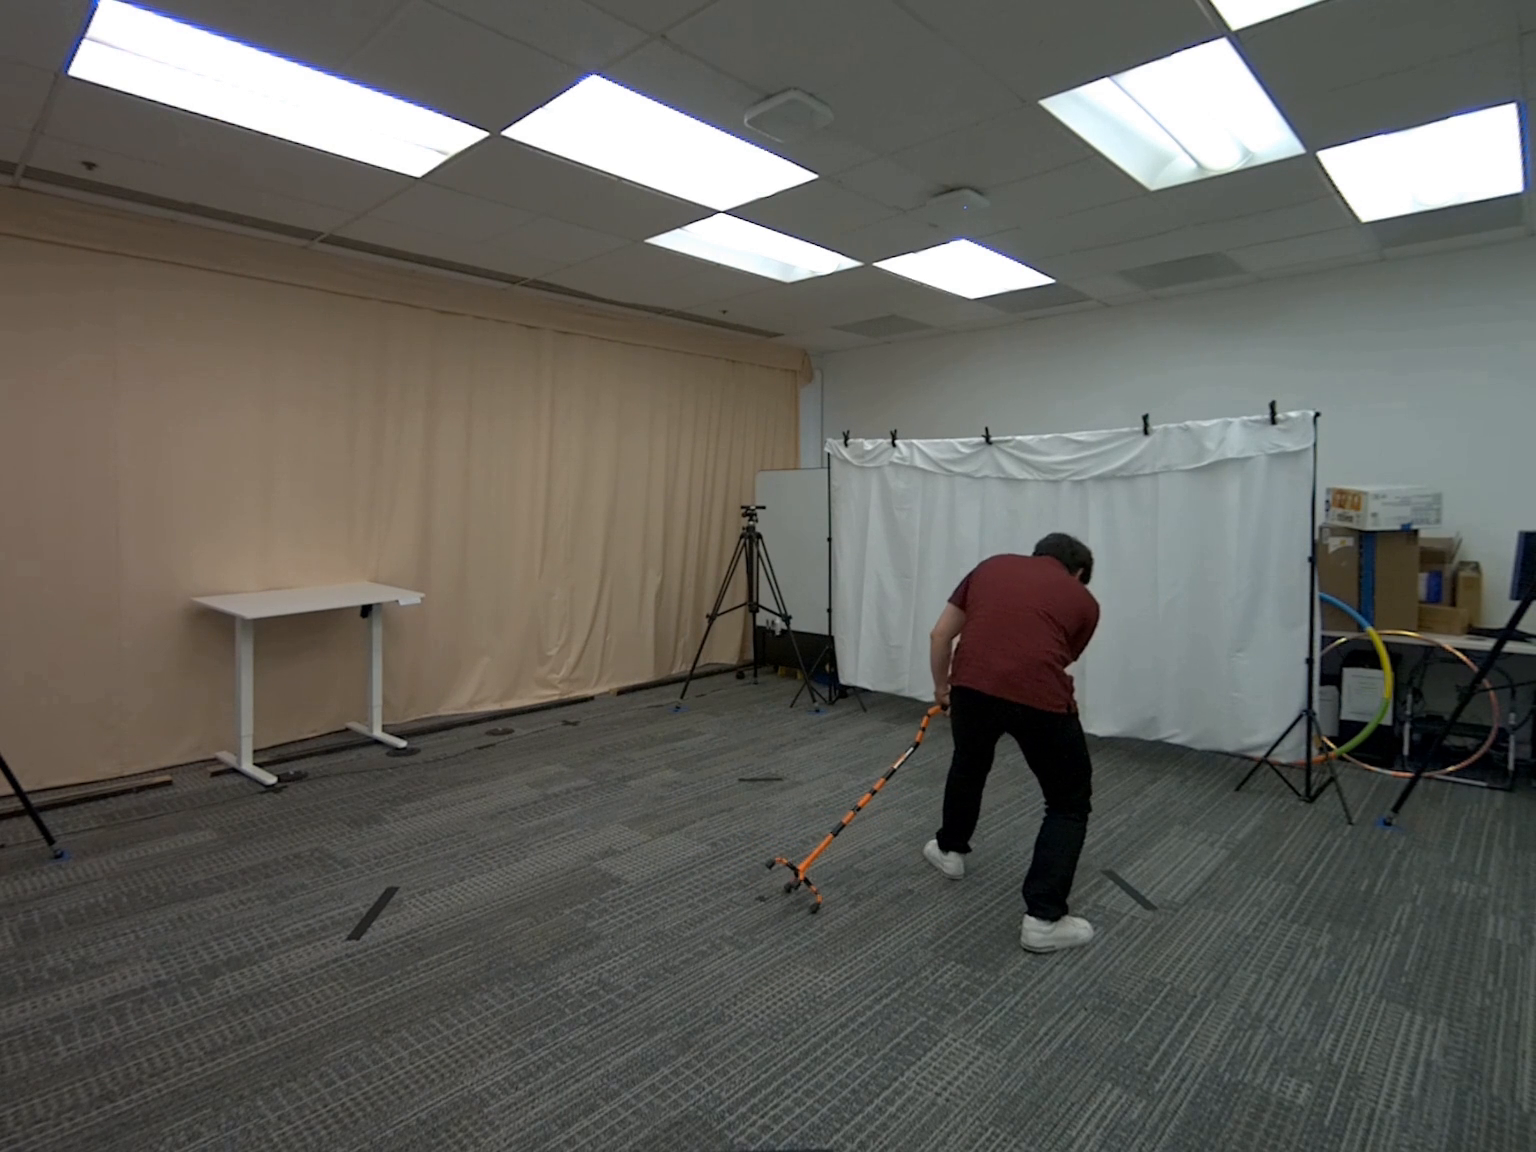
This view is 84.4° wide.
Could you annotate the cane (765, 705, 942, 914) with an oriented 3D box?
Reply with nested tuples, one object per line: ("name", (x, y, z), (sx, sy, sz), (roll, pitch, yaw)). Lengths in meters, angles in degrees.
("cane", (0.395, 0.801, 3.072), (0.902, 0.148, 0.212), (-42, 21, -18))
